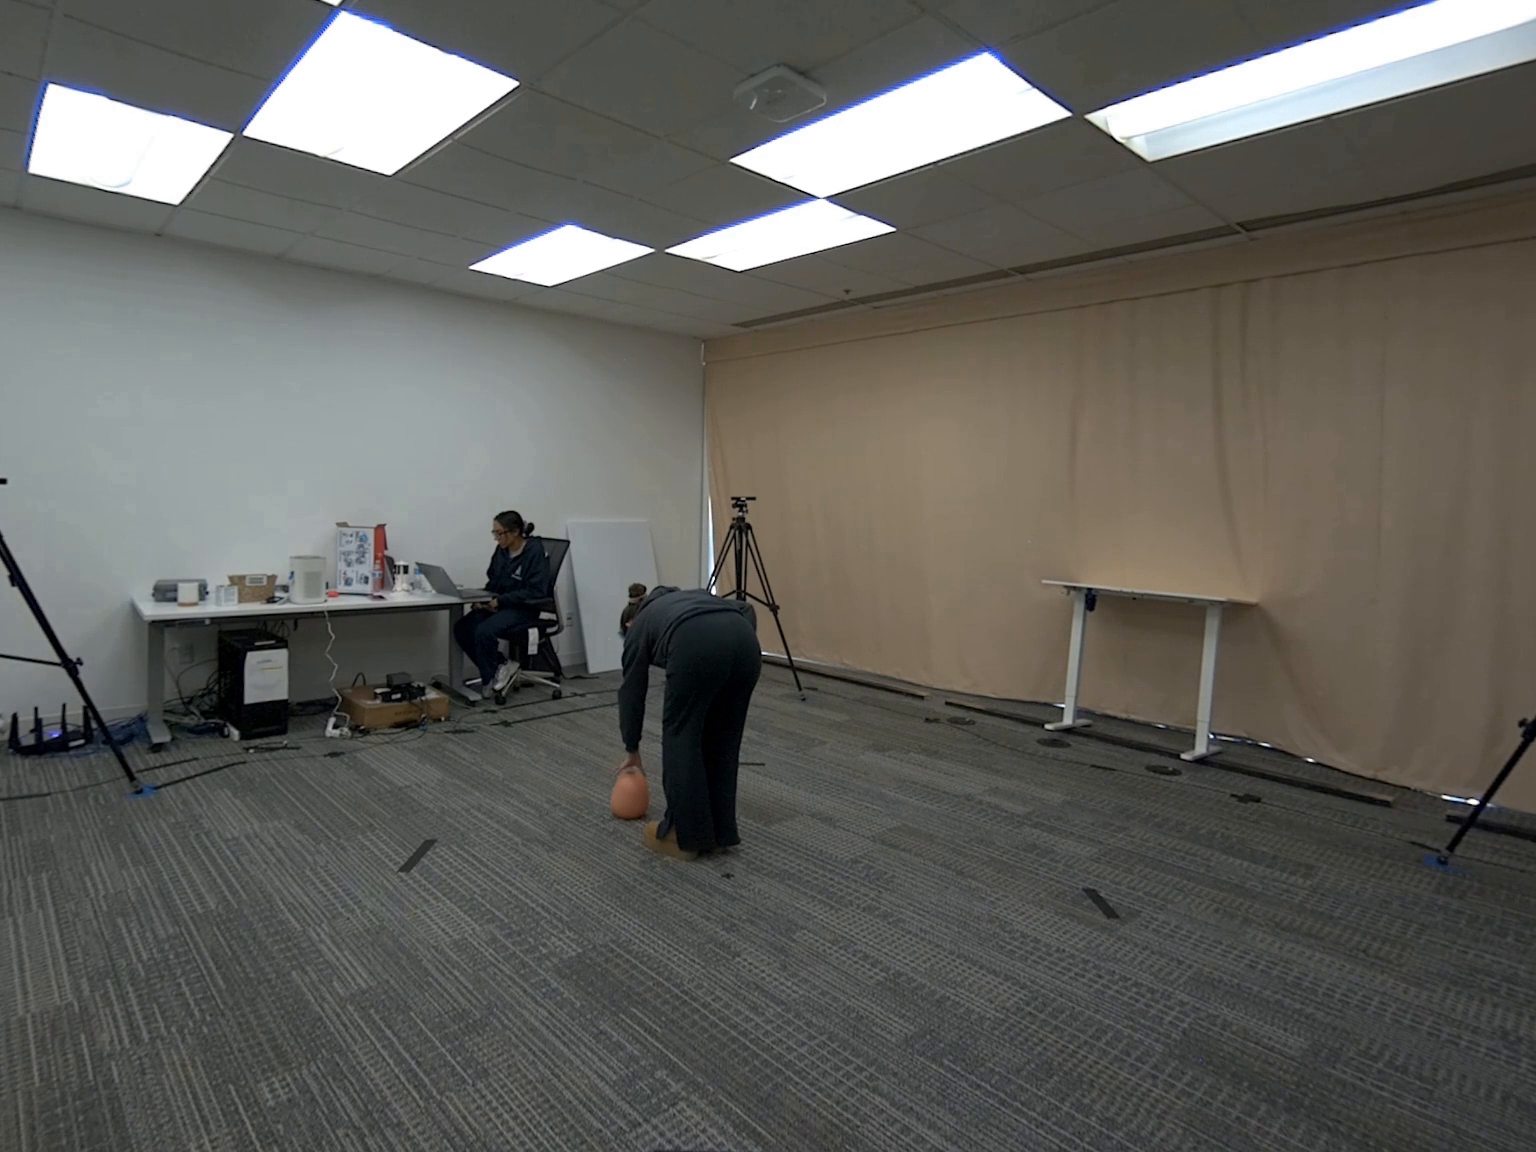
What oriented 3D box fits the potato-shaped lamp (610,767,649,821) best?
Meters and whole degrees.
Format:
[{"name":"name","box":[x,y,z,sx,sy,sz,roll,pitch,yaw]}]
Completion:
[{"name":"potato-shaped lamp","box":[-0.615,0.949,3.678,0.161,0.197,0.176,-2,7,-33]}]
